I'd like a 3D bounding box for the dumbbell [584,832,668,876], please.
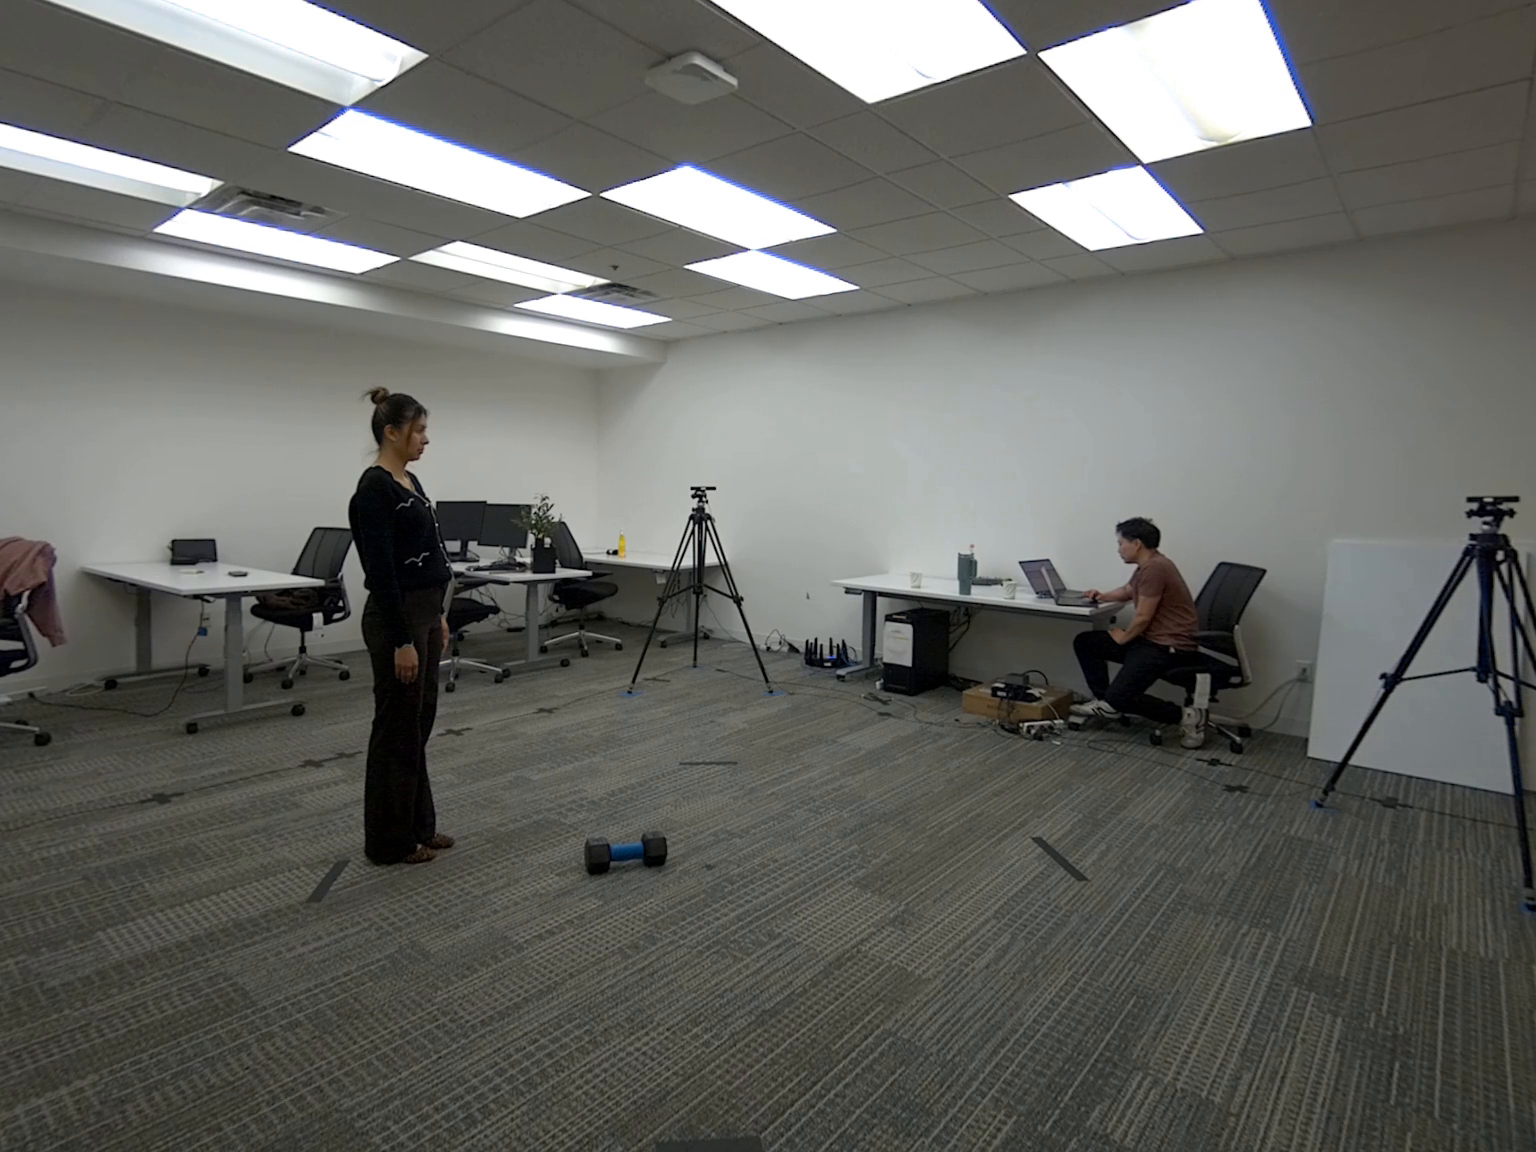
[{"bbox_3d":[-0.528,1.008,3.109,0.288,0.120,0.113,-1,34,-19],"label":"dumbbell"}]
